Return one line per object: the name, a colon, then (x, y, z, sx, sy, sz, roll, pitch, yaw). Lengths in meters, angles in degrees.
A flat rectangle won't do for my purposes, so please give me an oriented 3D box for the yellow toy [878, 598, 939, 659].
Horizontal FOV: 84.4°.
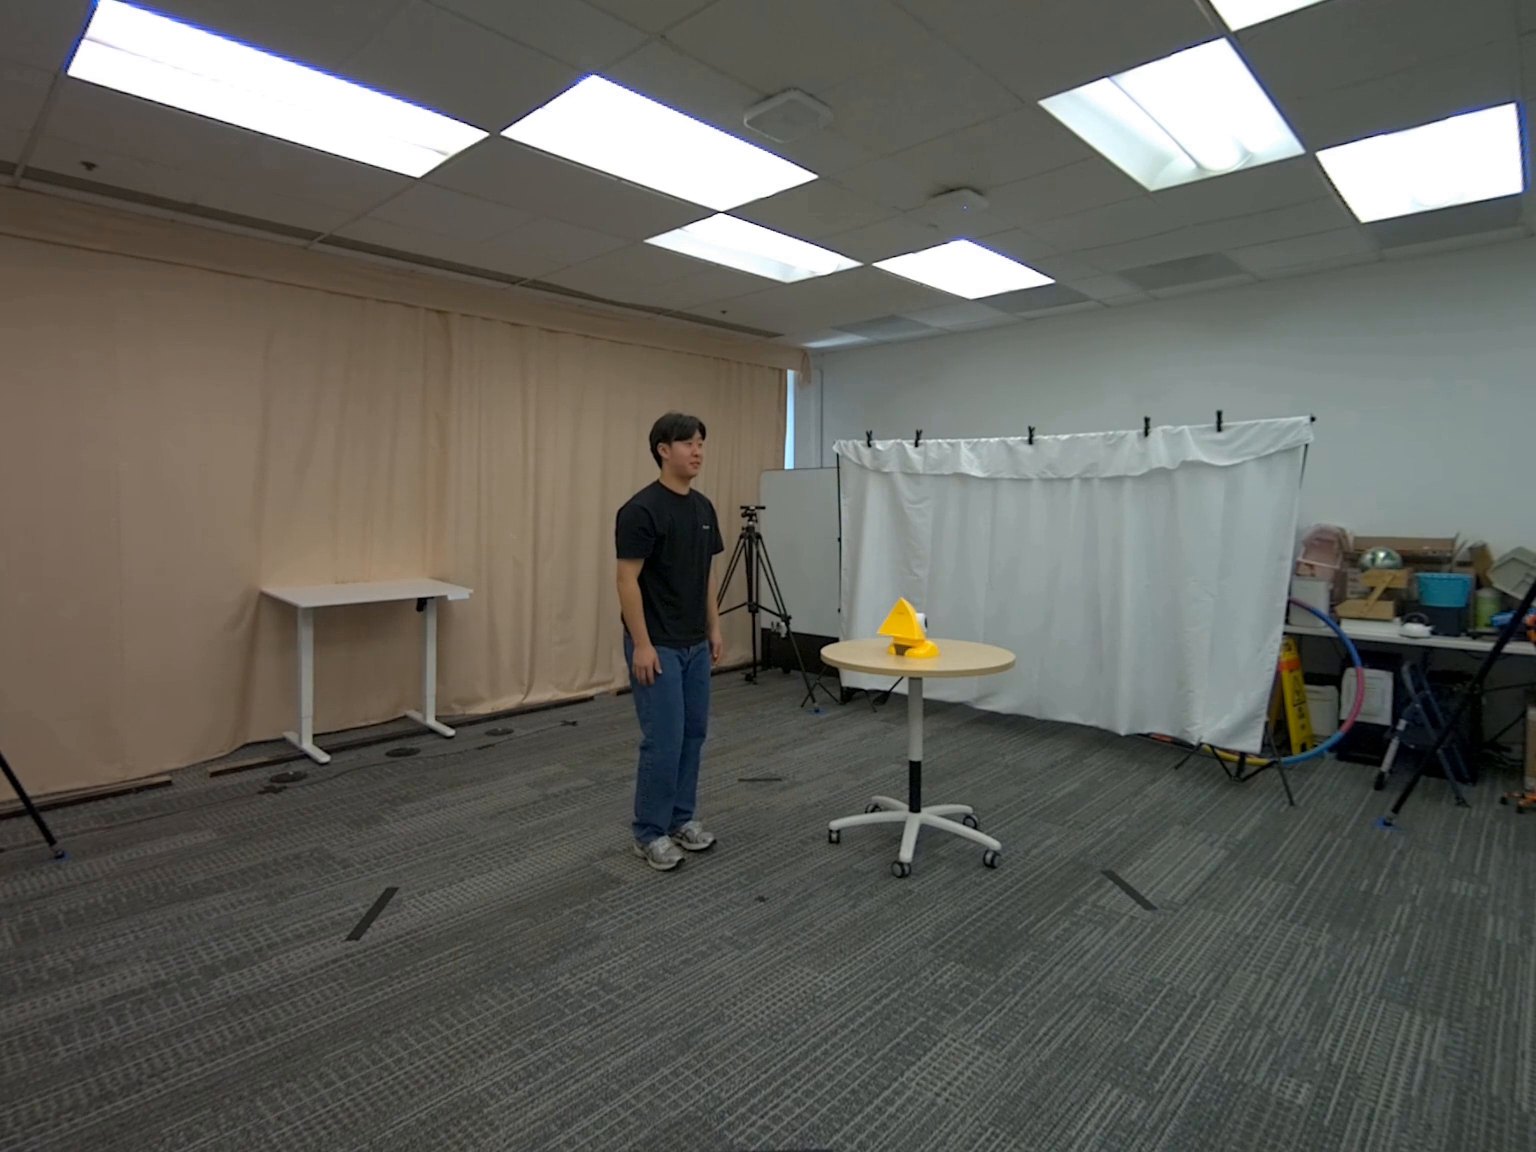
yellow toy: (0.584, 0.201, 3.387, 0.187, 0.230, 0.211, -3, 4, -39)
